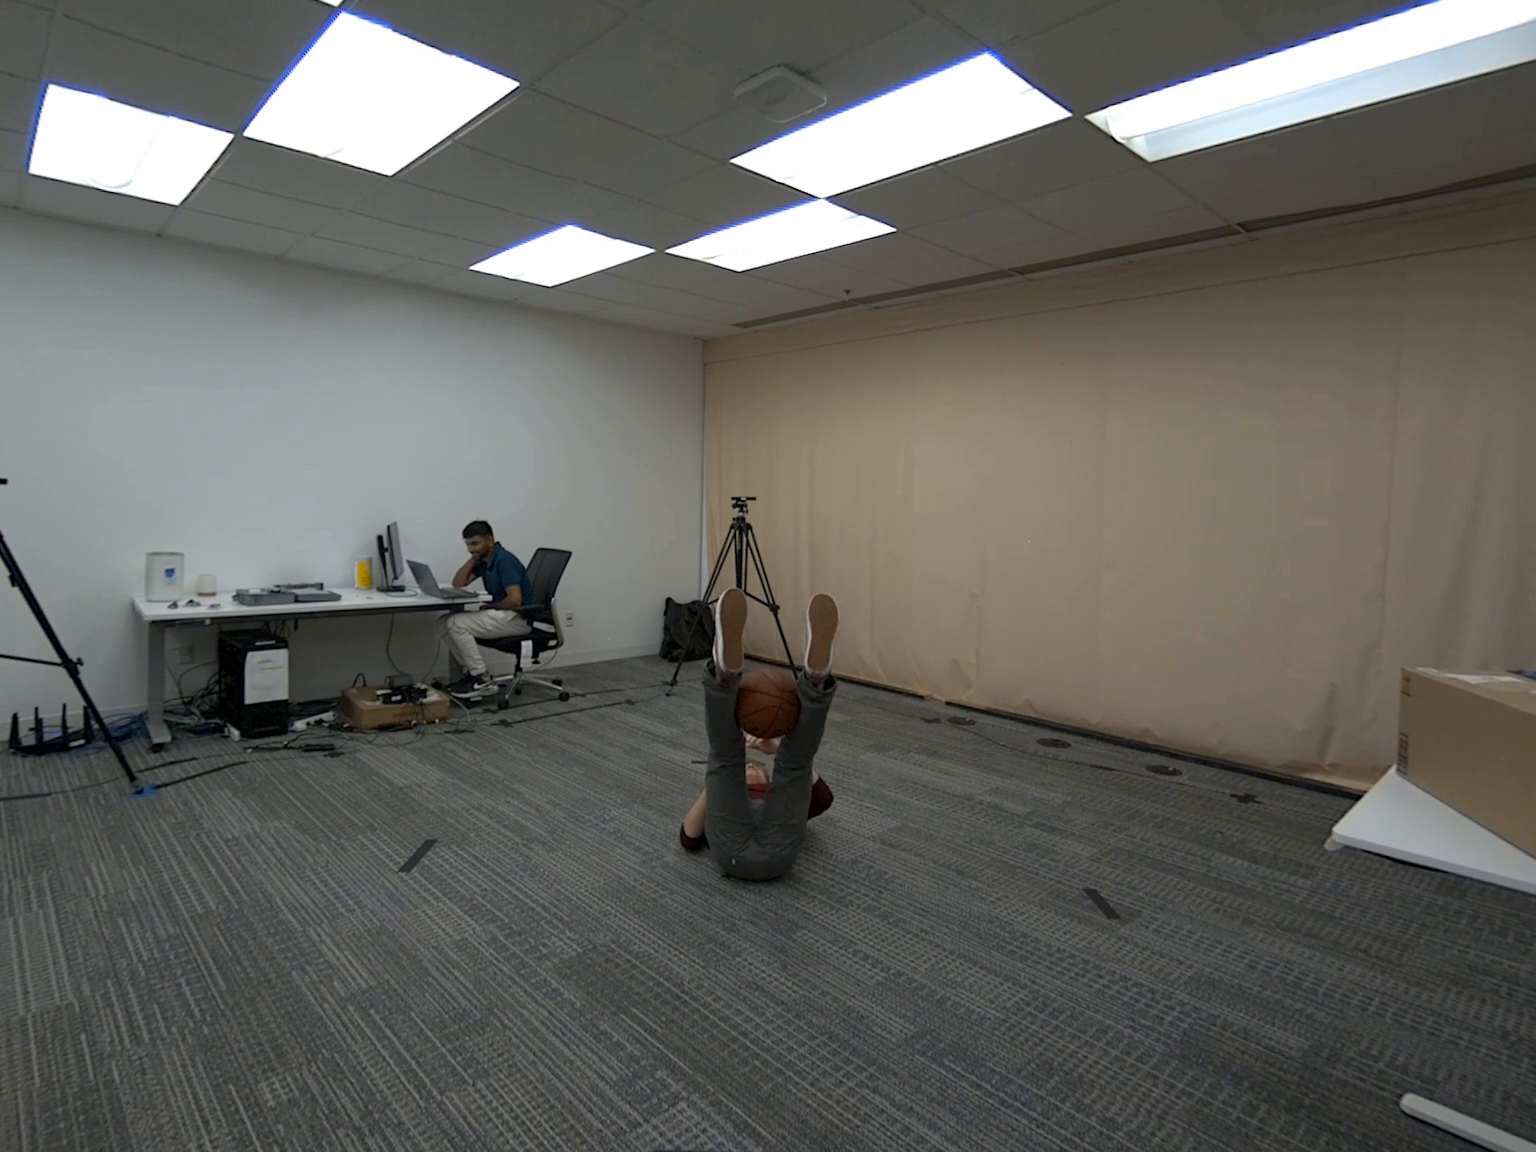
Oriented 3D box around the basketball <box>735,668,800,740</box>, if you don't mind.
[{"bbox_3d":[-0.014,0.430,2.845,0.236,0.235,0.237,1,4,-1],"label":"basketball"}]
